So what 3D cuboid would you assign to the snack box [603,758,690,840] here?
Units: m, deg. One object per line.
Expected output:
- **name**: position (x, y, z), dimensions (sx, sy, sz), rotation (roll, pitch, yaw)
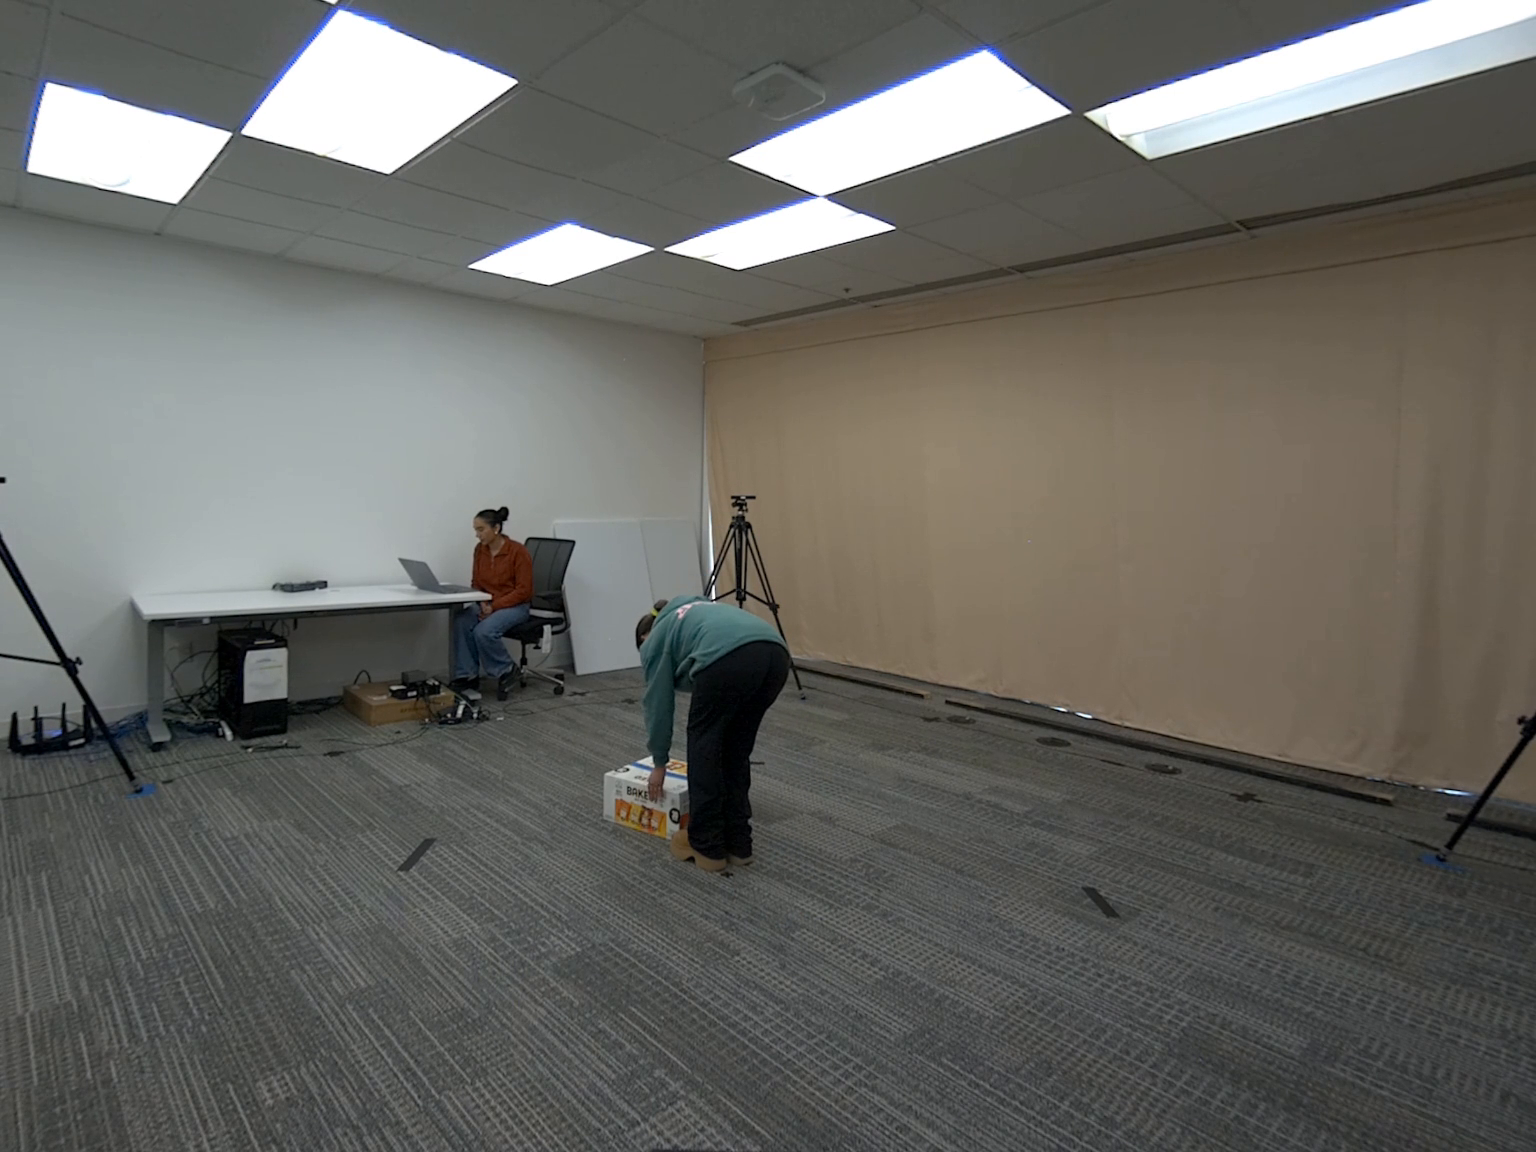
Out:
- **snack box**: position (-0.449, 0.947, 3.623), dimensions (0.414, 0.205, 0.333), rotation (4, 5, 33)
